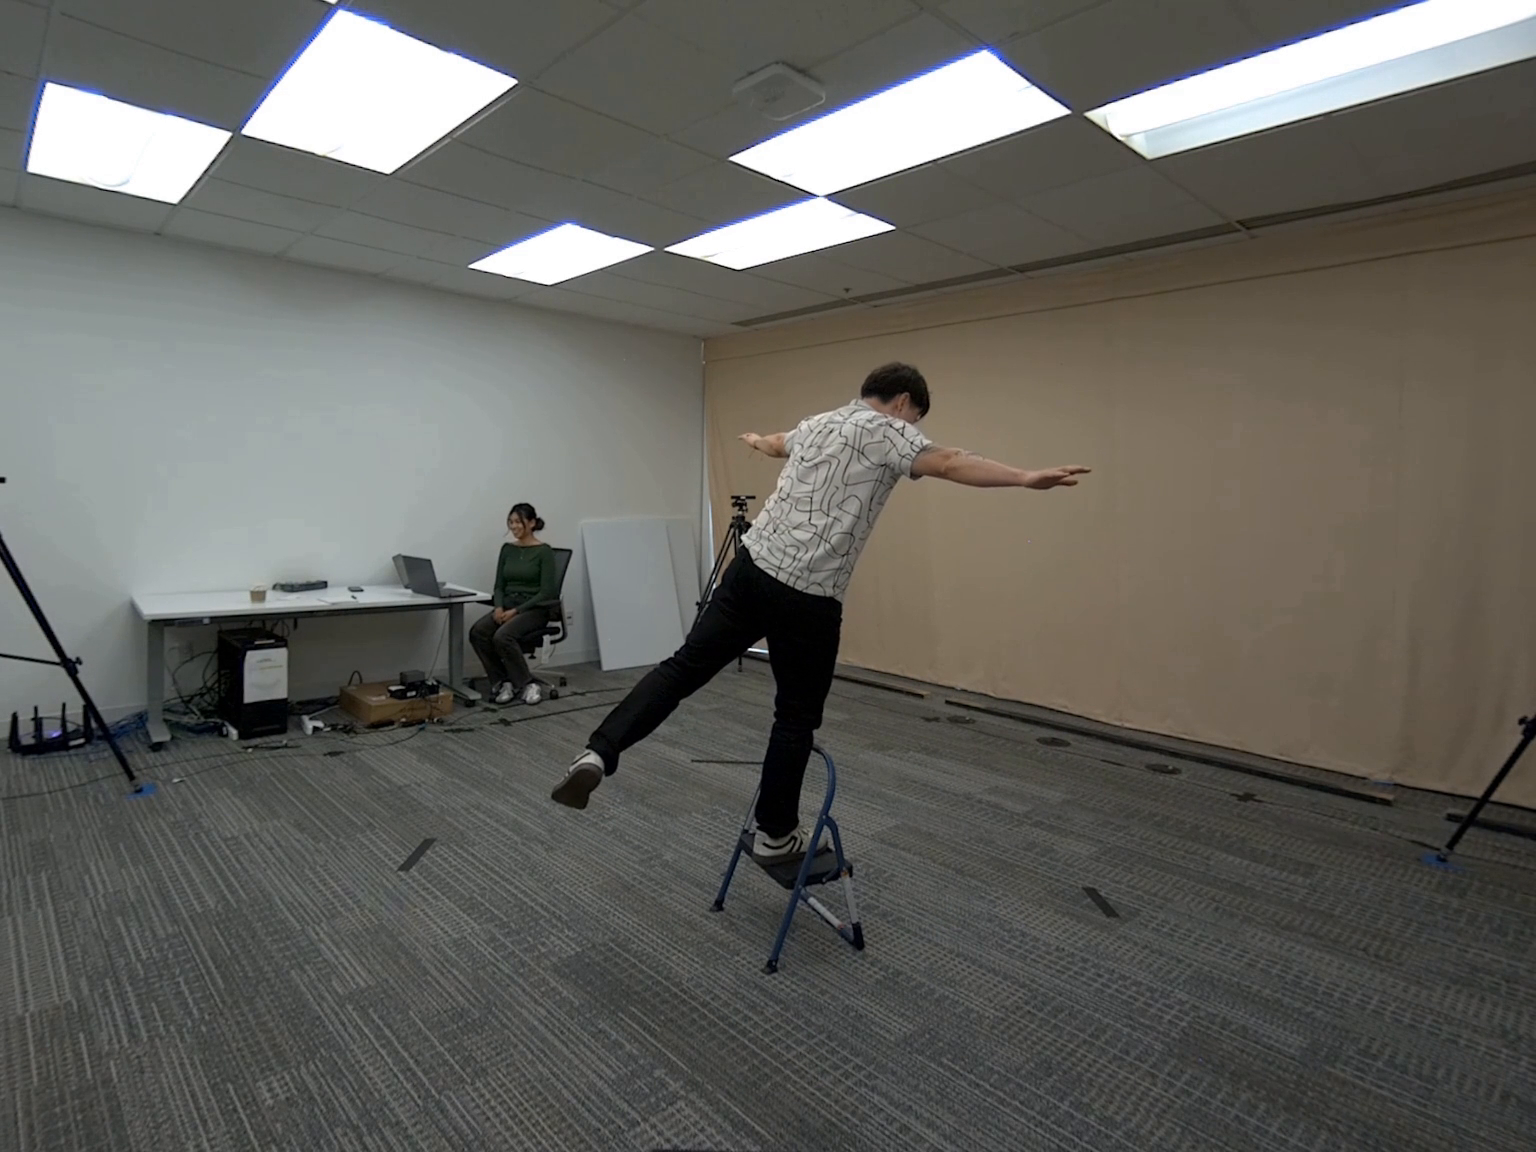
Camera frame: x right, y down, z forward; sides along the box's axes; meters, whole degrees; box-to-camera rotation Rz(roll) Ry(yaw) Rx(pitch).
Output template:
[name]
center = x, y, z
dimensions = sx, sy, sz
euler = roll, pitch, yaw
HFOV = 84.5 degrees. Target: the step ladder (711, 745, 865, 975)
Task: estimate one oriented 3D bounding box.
[step ladder]
center = 0.057, 0.841, 2.702
dimensions = 0.343, 0.604, 0.440
euler = -1, 4, -27
